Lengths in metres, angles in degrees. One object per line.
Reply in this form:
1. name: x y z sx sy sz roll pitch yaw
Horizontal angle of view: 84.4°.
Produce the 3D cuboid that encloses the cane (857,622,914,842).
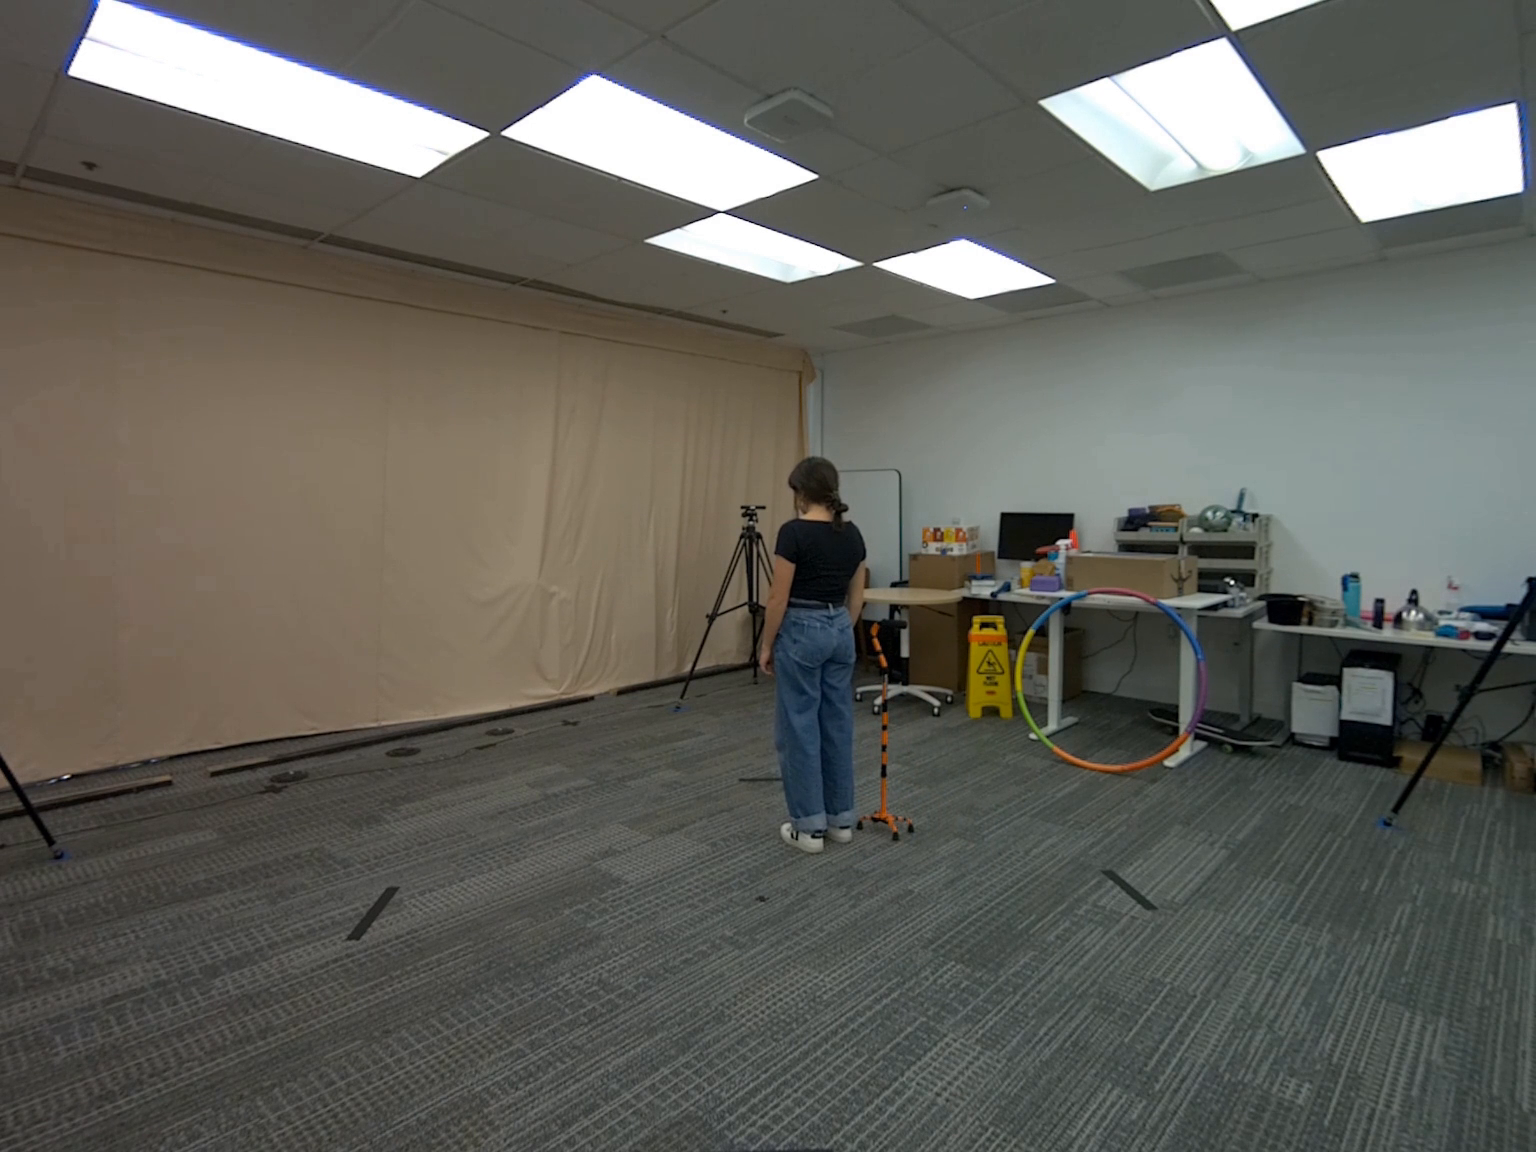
1. cane: 0.520 0.644 3.586 0.213 0.906 0.147 3 4 41
